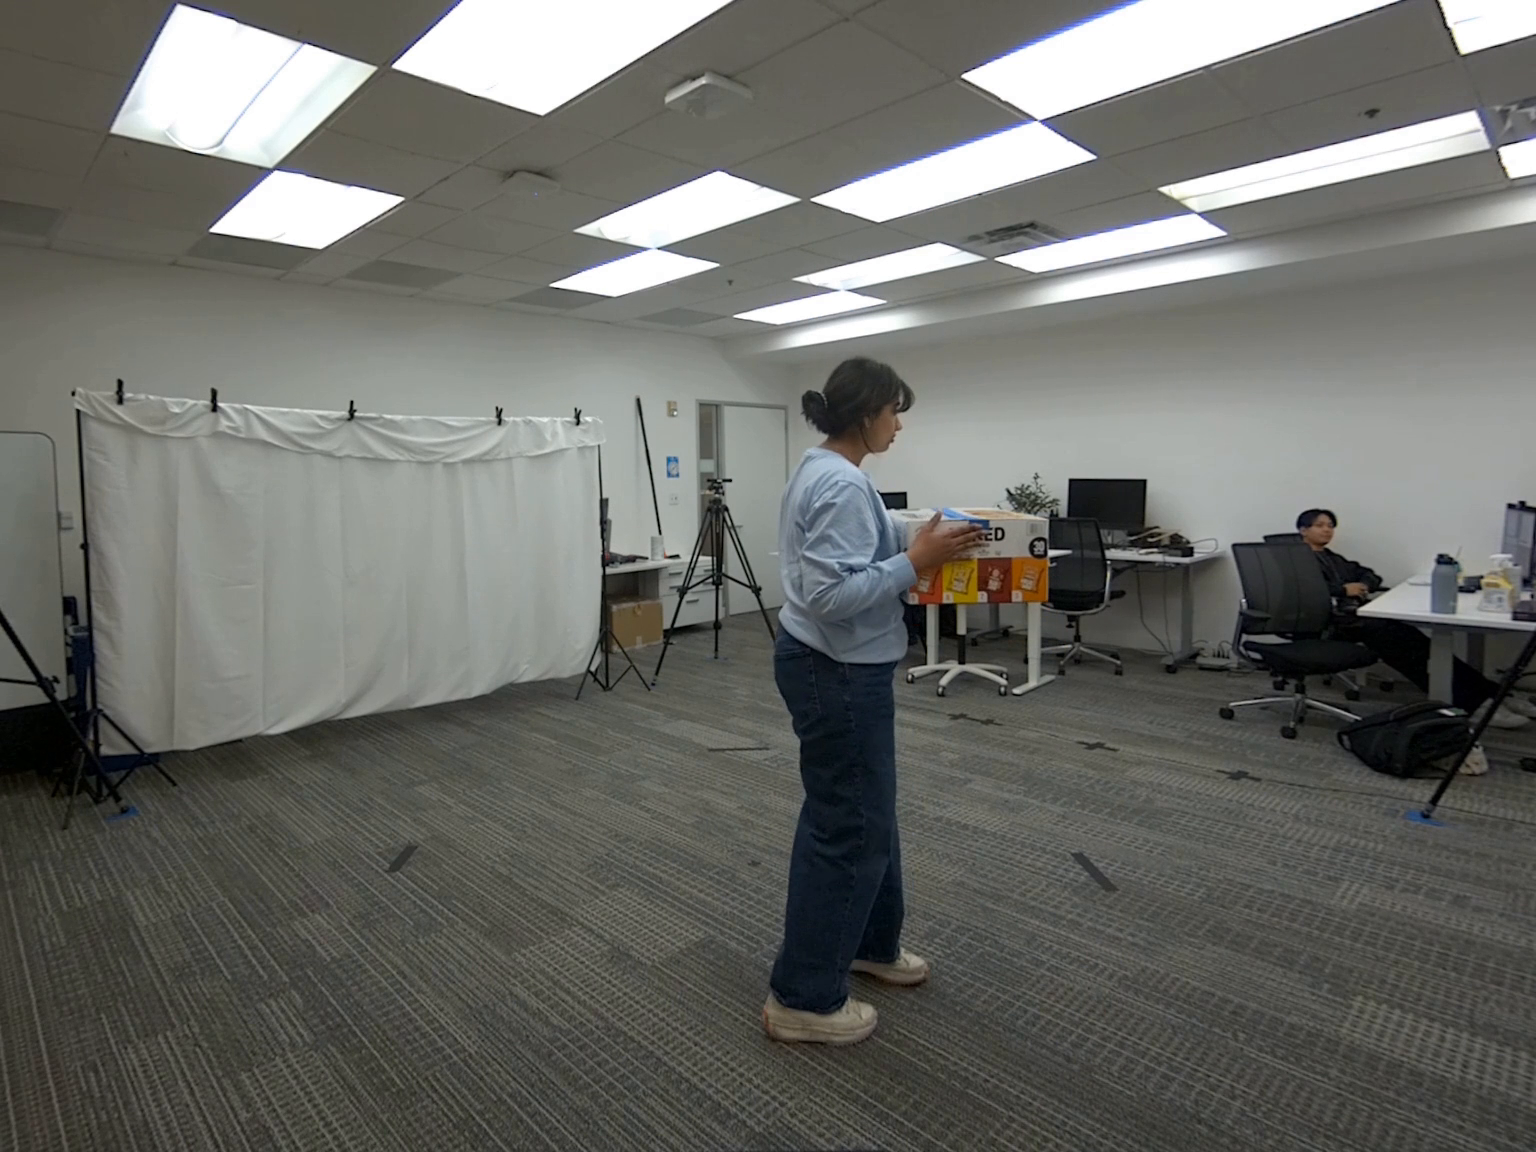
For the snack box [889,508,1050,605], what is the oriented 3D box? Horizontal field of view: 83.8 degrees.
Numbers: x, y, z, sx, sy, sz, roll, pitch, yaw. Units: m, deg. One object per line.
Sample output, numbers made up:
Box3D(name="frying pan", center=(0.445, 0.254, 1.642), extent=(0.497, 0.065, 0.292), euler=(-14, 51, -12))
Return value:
Box3D(name="snack box", center=(0.490, -0.058, 2.251), extent=(0.340, 0.204, 0.408), euler=(-2, 7, -2))
